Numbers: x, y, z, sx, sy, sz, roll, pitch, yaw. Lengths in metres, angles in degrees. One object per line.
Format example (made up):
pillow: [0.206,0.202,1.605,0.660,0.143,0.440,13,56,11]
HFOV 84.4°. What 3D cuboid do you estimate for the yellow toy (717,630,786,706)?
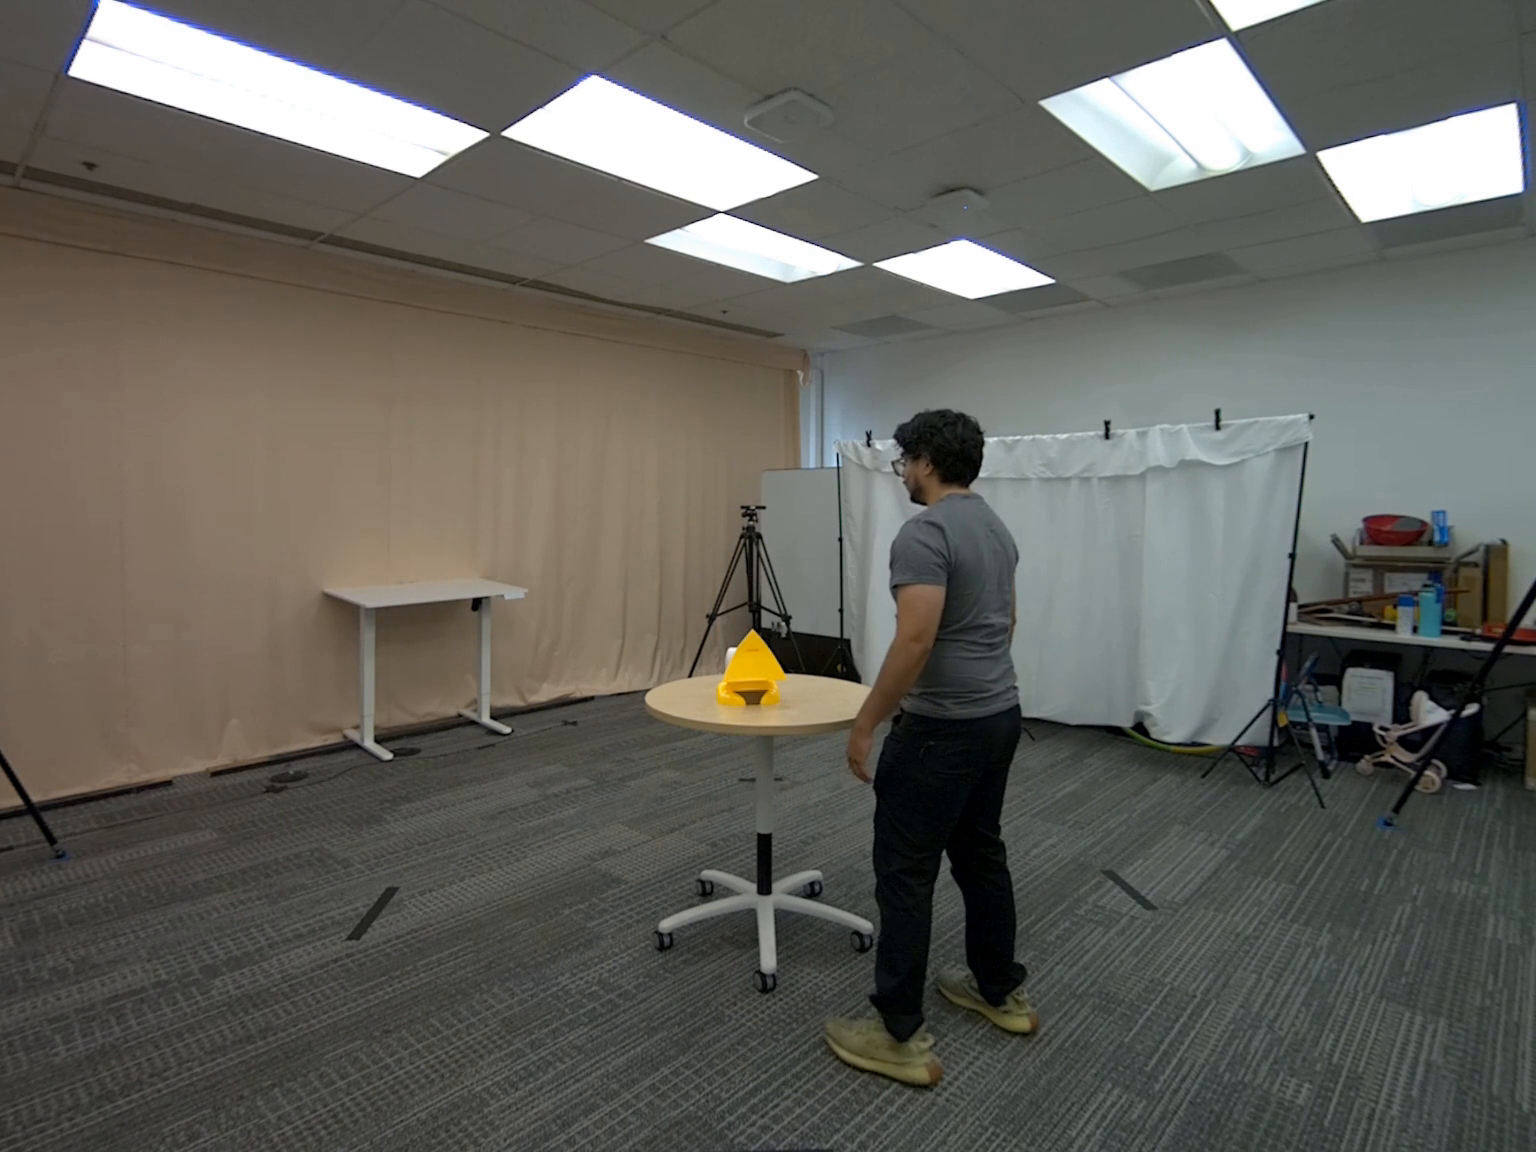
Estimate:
yellow toy: [-0.058,0.275,2.632,0.202,0.230,0.196,-1,3,-14]
